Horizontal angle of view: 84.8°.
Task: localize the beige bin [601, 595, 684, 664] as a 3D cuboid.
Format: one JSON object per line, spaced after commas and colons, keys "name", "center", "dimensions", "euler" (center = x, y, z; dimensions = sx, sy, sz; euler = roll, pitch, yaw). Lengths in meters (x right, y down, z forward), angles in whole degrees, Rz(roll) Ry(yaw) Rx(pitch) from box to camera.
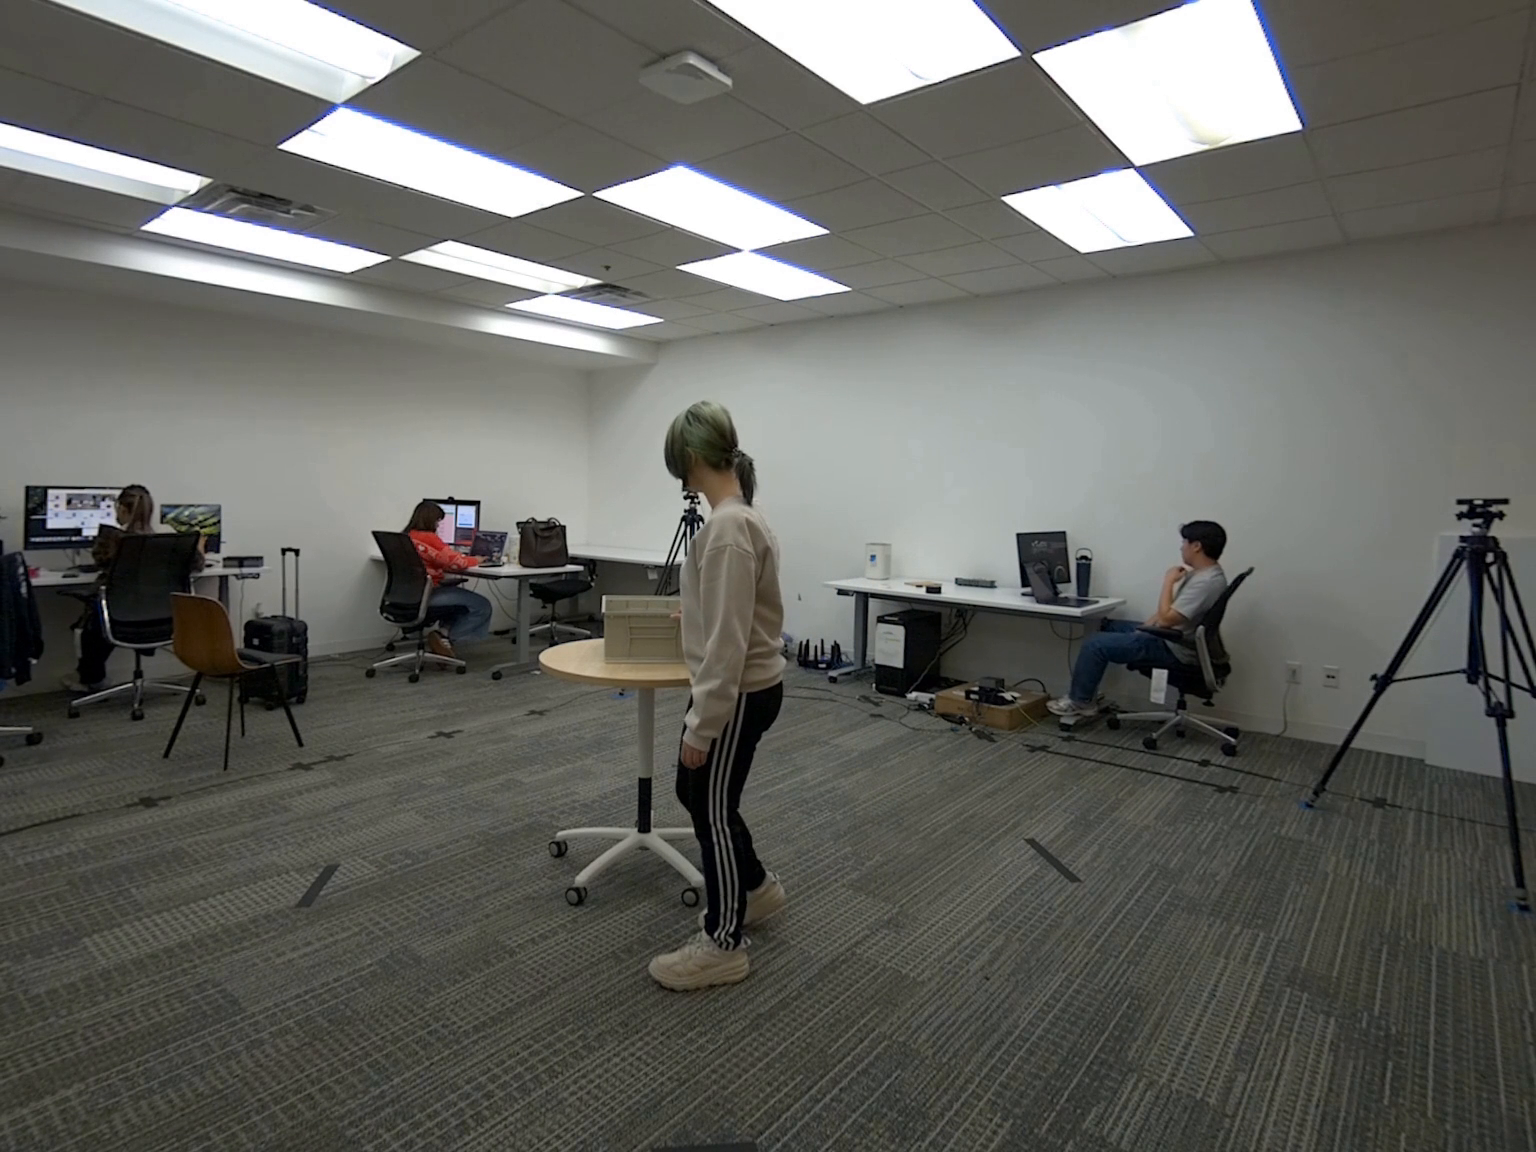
{"name": "beige bin", "center": [-0.429, 0.188, 3.133], "dimensions": [0.374, 0.188, 0.428], "euler": [-1, 6, -9]}
